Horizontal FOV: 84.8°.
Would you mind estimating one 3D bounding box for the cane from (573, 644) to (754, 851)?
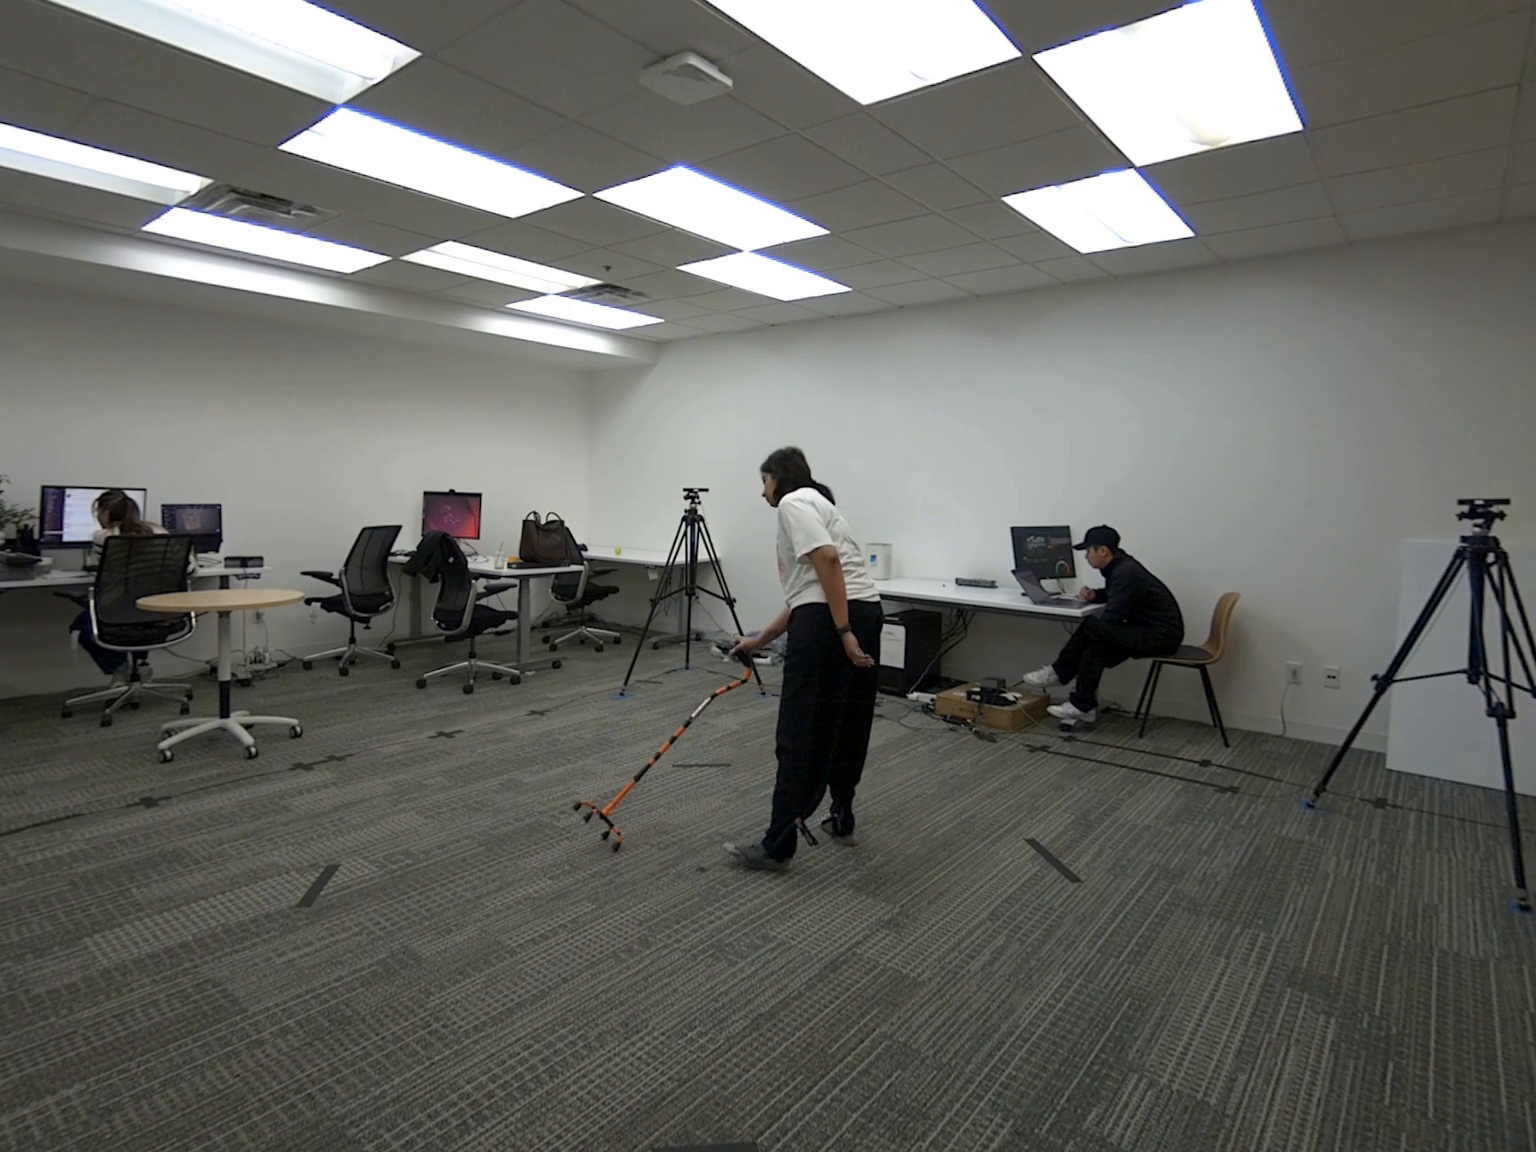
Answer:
[{"bbox_3d":[-0.388,0.662,3.414,0.907,0.201,0.156,-47,22,-18],"label":"cane"}]
